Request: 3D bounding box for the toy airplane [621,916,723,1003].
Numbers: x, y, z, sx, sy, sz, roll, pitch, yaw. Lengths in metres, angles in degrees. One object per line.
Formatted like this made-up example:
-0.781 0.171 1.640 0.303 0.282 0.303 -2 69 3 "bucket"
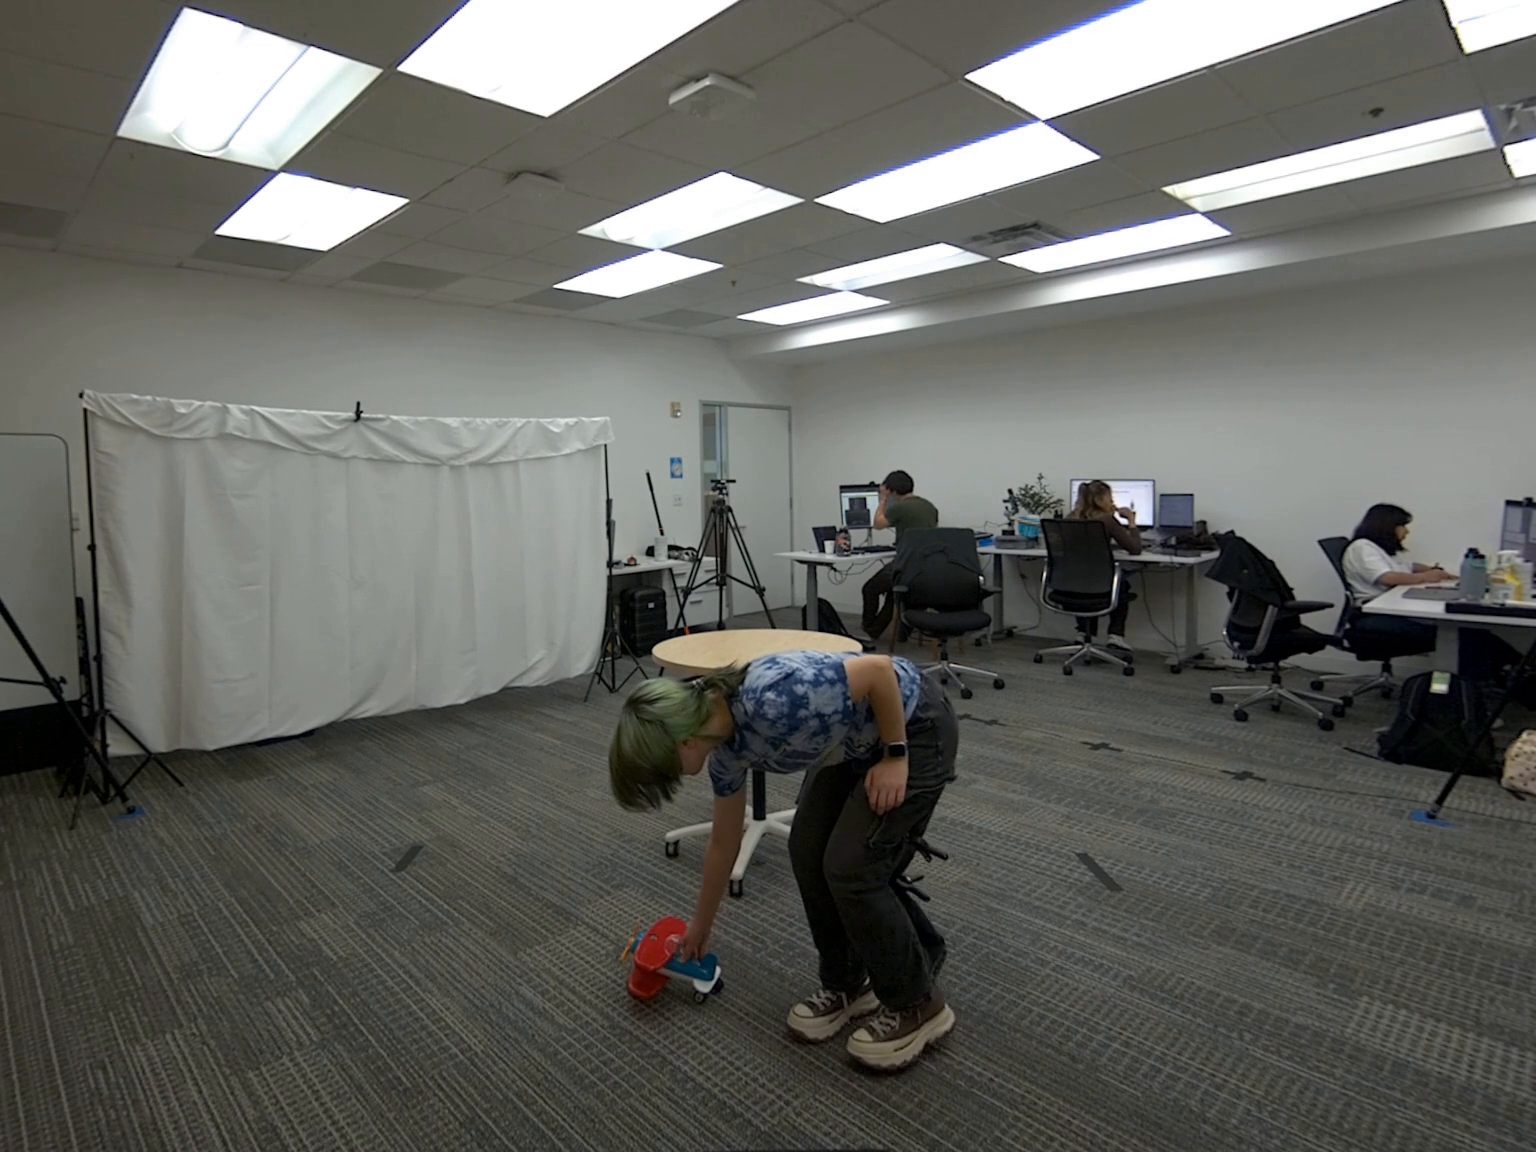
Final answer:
-0.254 1.066 2.361 0.256 0.155 0.256 -4 7 -14 "toy airplane"
